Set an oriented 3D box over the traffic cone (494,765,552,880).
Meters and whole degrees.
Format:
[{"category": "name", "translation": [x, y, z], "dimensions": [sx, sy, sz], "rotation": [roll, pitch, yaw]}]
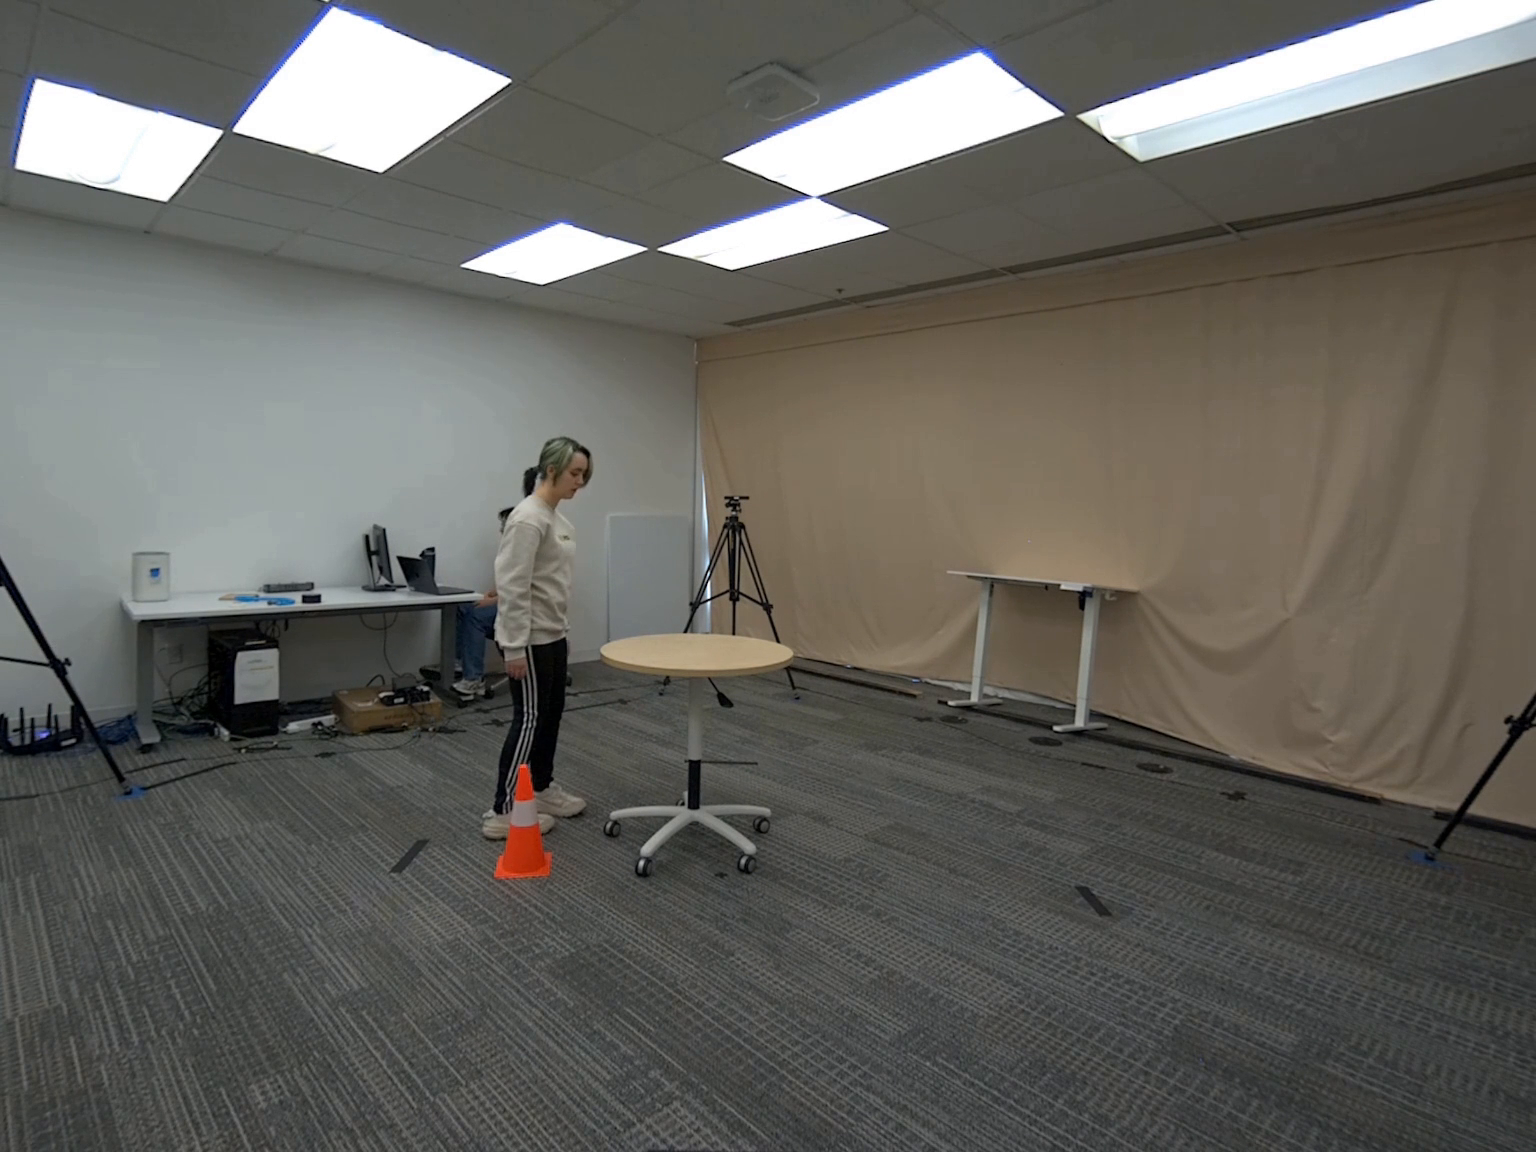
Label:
[{"category": "traffic cone", "translation": [-0.923, 0.900, 3.135], "dimensions": [0.203, 0.383, 0.205], "rotation": [0, 3, -12]}]
